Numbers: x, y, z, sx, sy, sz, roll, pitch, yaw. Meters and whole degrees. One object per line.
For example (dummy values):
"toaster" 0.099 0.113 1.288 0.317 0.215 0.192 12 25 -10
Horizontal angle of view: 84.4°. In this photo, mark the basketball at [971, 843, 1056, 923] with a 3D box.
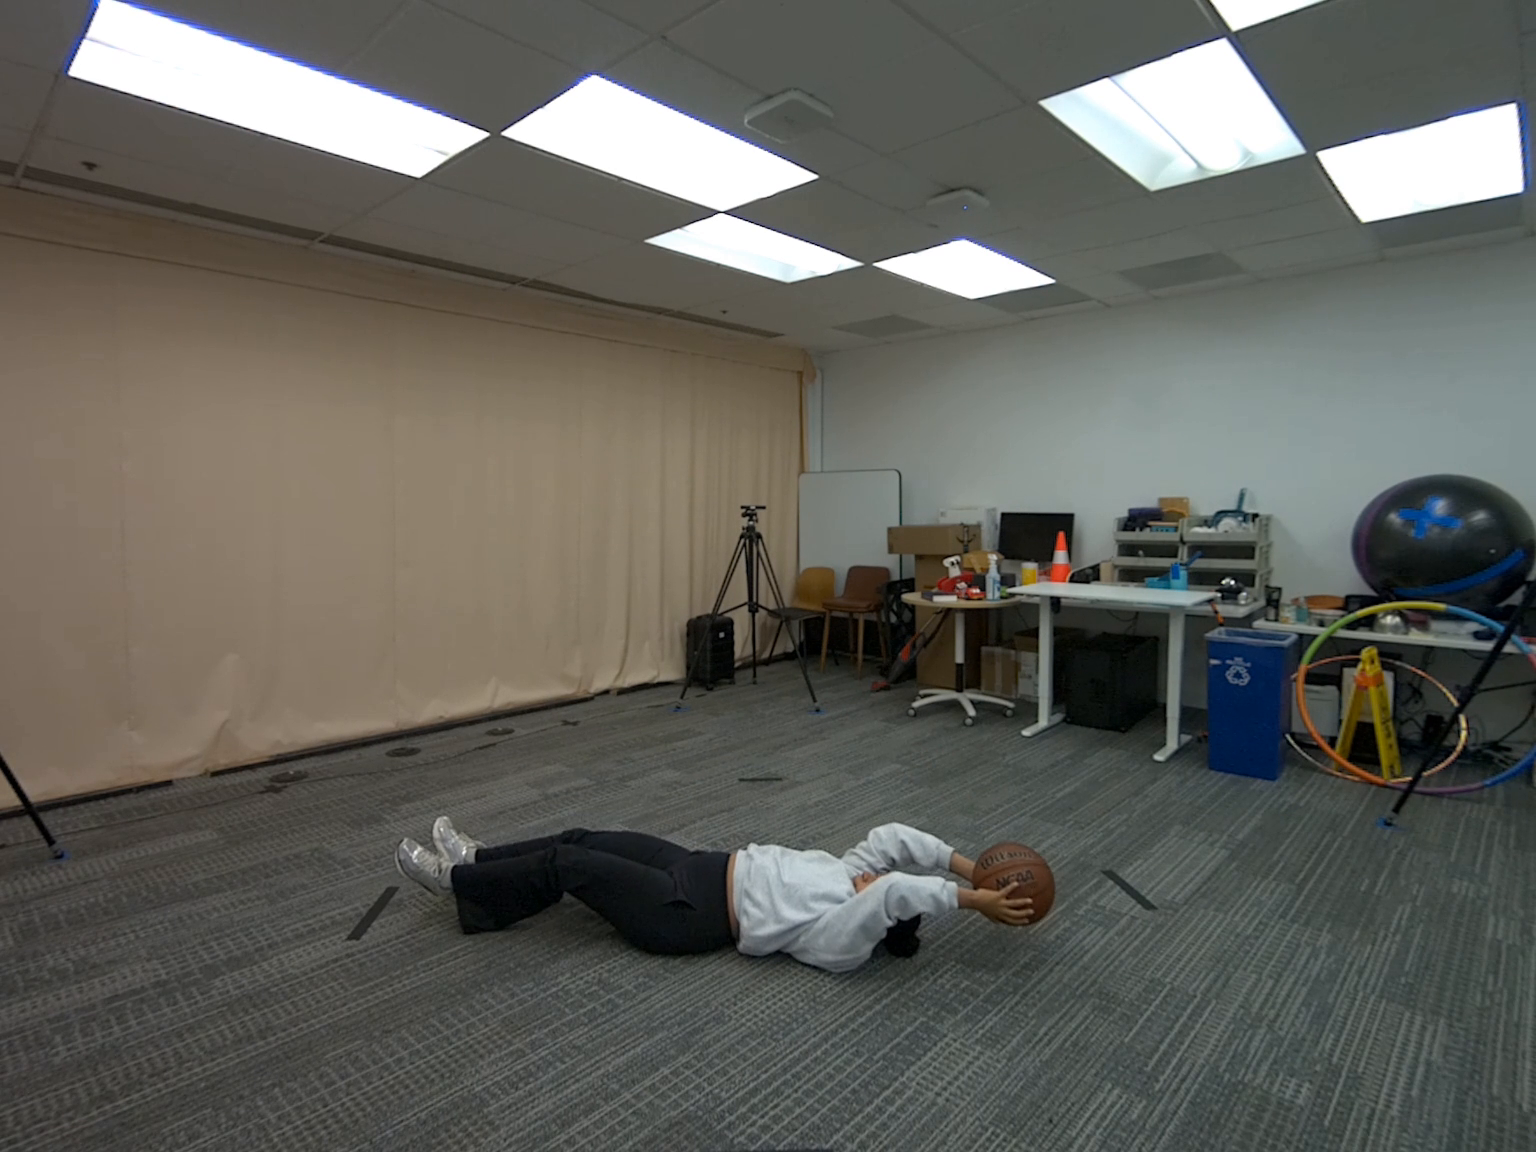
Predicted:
"basketball" 0.750 0.930 2.564 0.235 0.235 0.237 1 4 -2
